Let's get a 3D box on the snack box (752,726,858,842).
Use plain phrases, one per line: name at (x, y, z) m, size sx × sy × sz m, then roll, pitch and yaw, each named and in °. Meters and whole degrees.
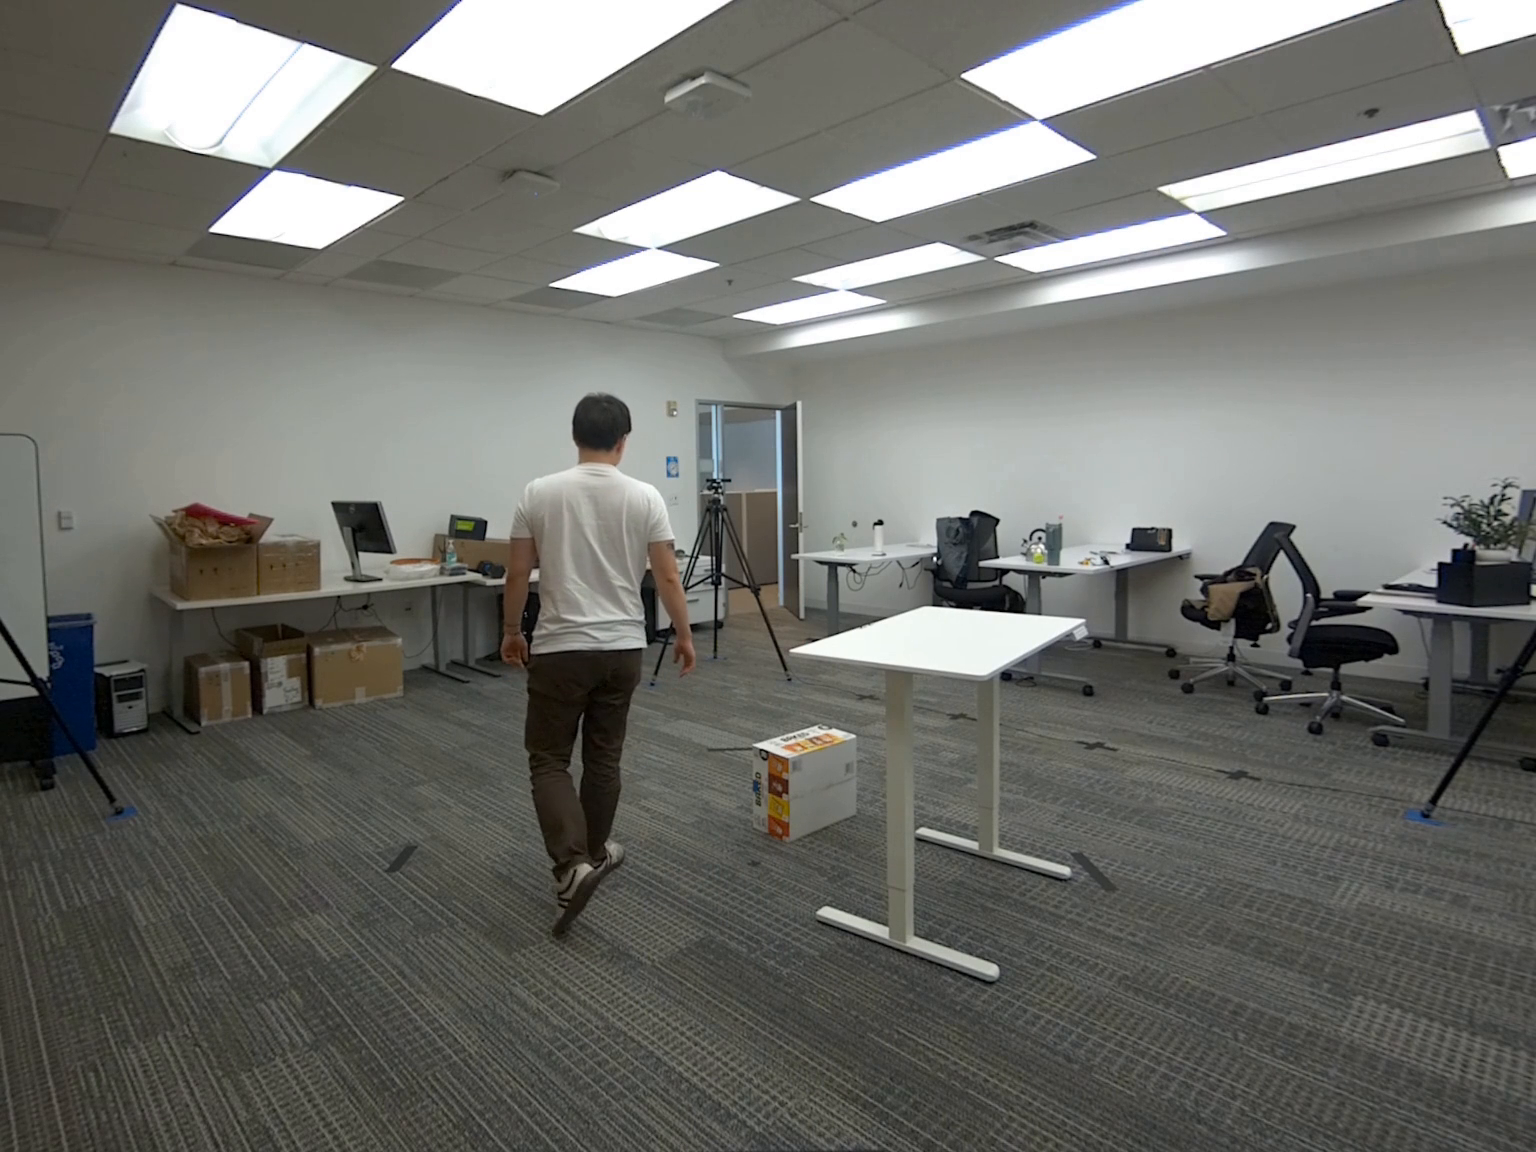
snack box at (0.154, 0.832, 3.467) m, size 0.394 × 0.339 × 0.212 m, roll -6°, pitch 8°, yaw -42°
